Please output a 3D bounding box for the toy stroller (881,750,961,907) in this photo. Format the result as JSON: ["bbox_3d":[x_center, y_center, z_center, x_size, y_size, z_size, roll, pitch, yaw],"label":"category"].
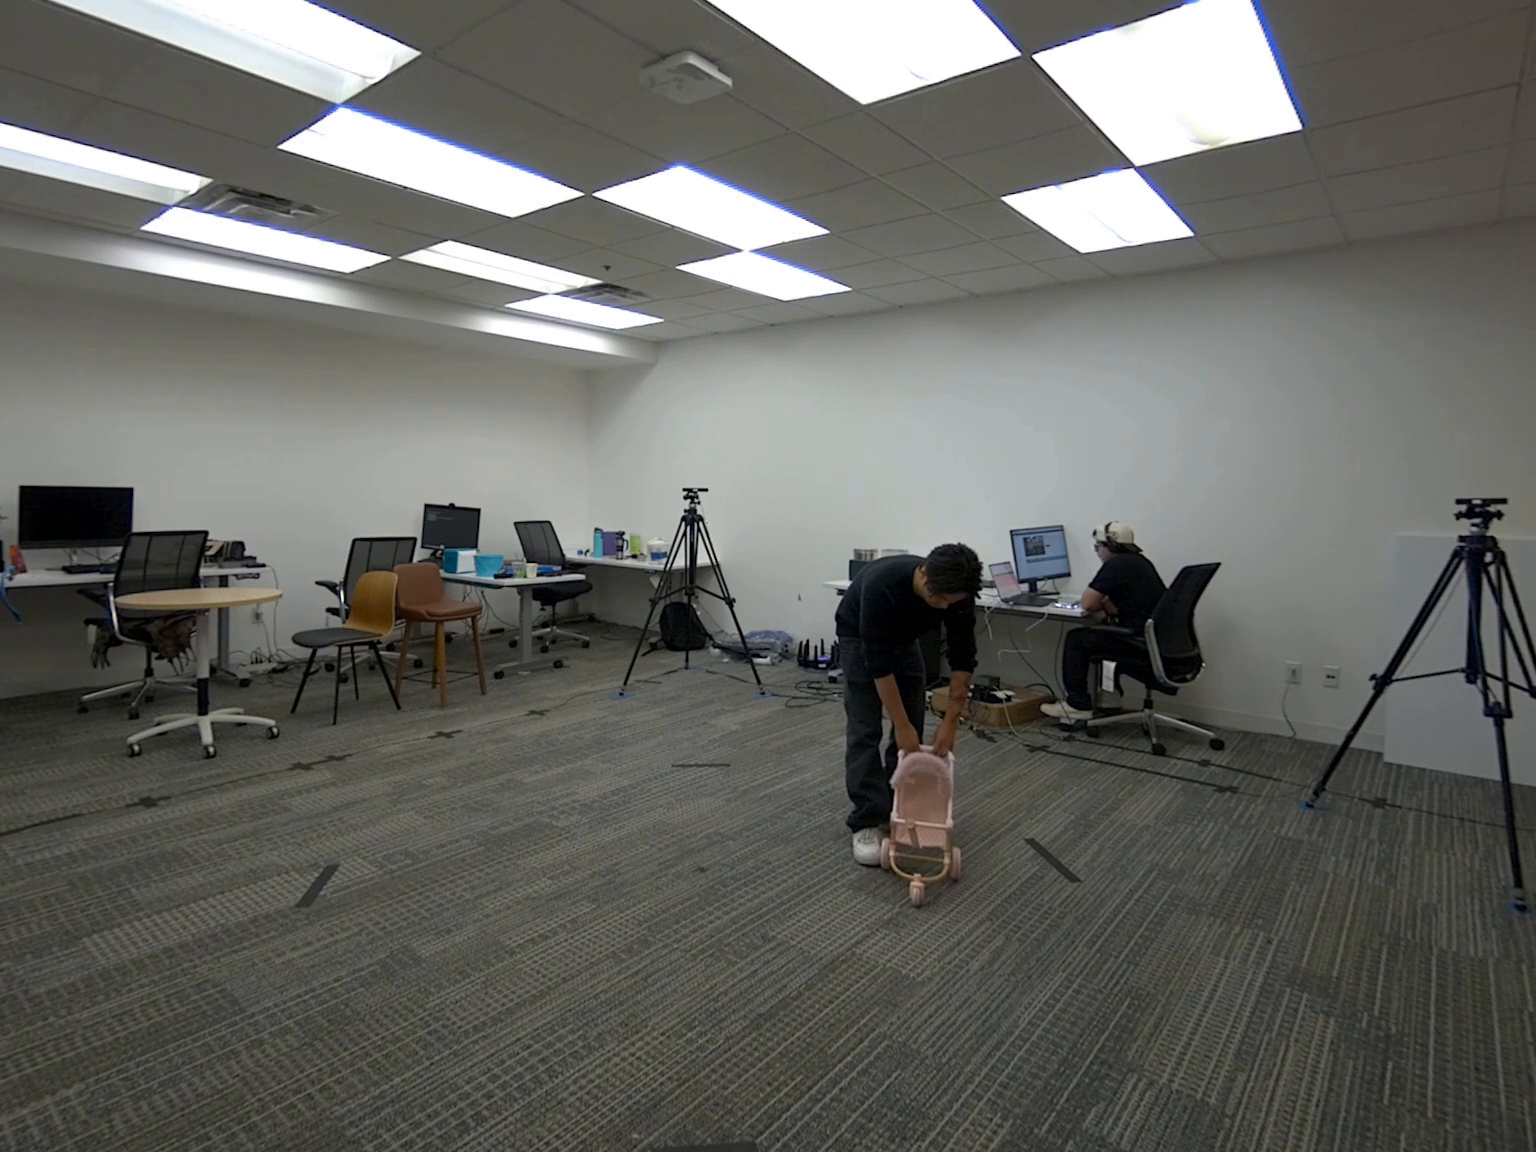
[{"bbox_3d":[0.540,0.865,3.053,0.287,0.541,0.331,1,-13,17],"label":"toy stroller"}]
